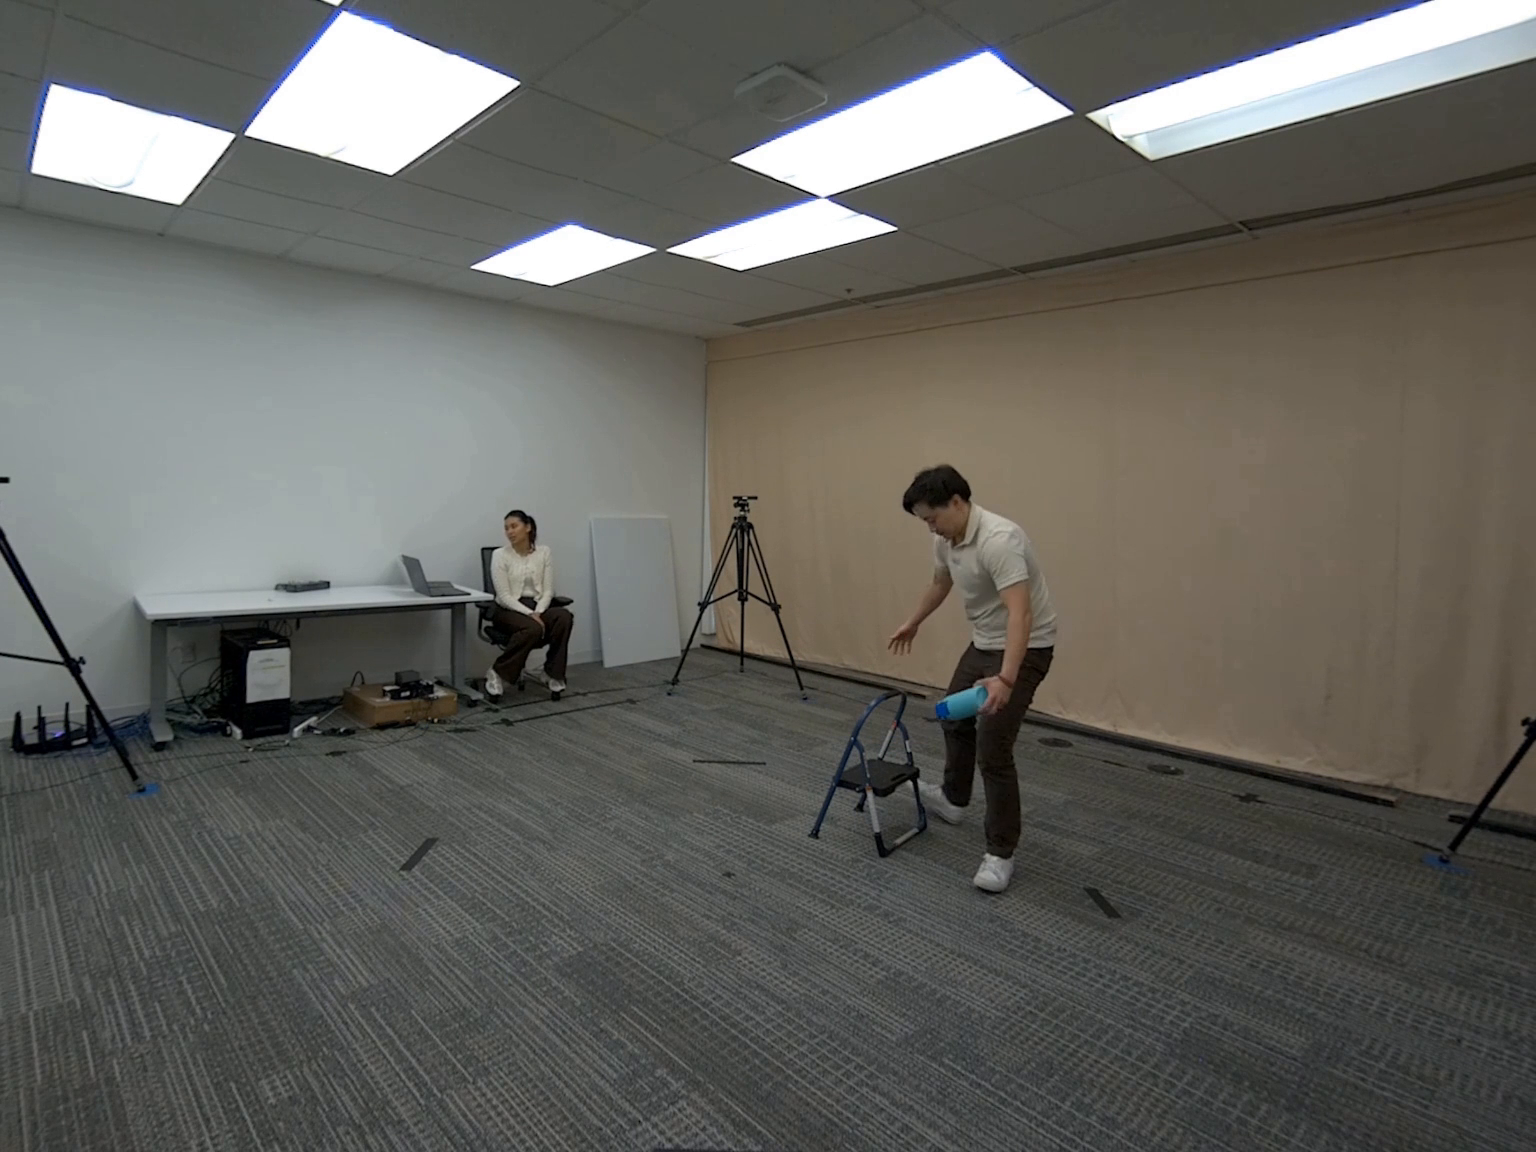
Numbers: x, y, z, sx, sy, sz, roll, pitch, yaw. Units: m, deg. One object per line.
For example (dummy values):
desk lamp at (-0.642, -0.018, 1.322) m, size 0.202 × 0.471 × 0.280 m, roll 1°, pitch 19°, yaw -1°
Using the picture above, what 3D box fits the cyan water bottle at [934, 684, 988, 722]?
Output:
cyan water bottle at (0.668, 0.447, 2.969) m, size 0.091 × 0.094 × 0.284 m, roll 0°, pitch -20°, yaw -24°
